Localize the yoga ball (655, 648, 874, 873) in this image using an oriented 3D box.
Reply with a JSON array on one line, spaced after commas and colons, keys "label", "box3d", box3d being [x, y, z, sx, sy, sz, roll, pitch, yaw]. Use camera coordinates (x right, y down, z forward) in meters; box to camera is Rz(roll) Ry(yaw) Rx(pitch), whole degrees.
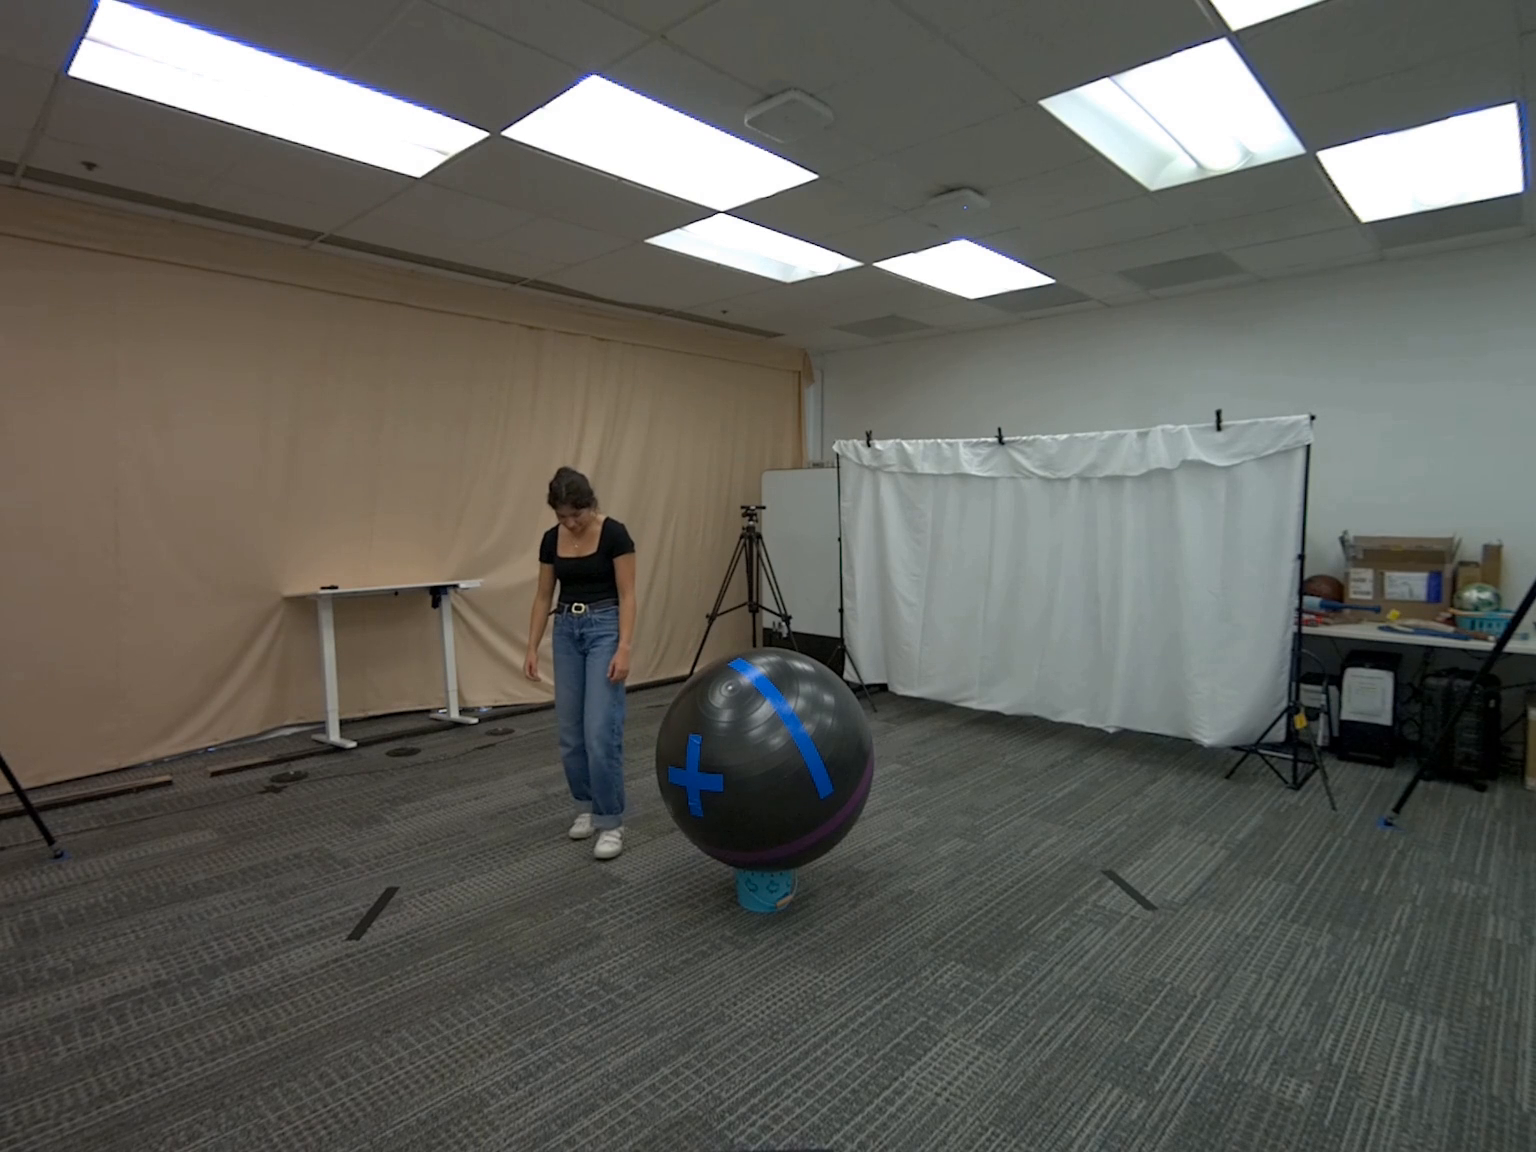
[{"label": "yoga ball", "box3d": [-0.013, 0.629, 2.950, 0.757, 0.756, 0.760, 0, 4, -2]}]
